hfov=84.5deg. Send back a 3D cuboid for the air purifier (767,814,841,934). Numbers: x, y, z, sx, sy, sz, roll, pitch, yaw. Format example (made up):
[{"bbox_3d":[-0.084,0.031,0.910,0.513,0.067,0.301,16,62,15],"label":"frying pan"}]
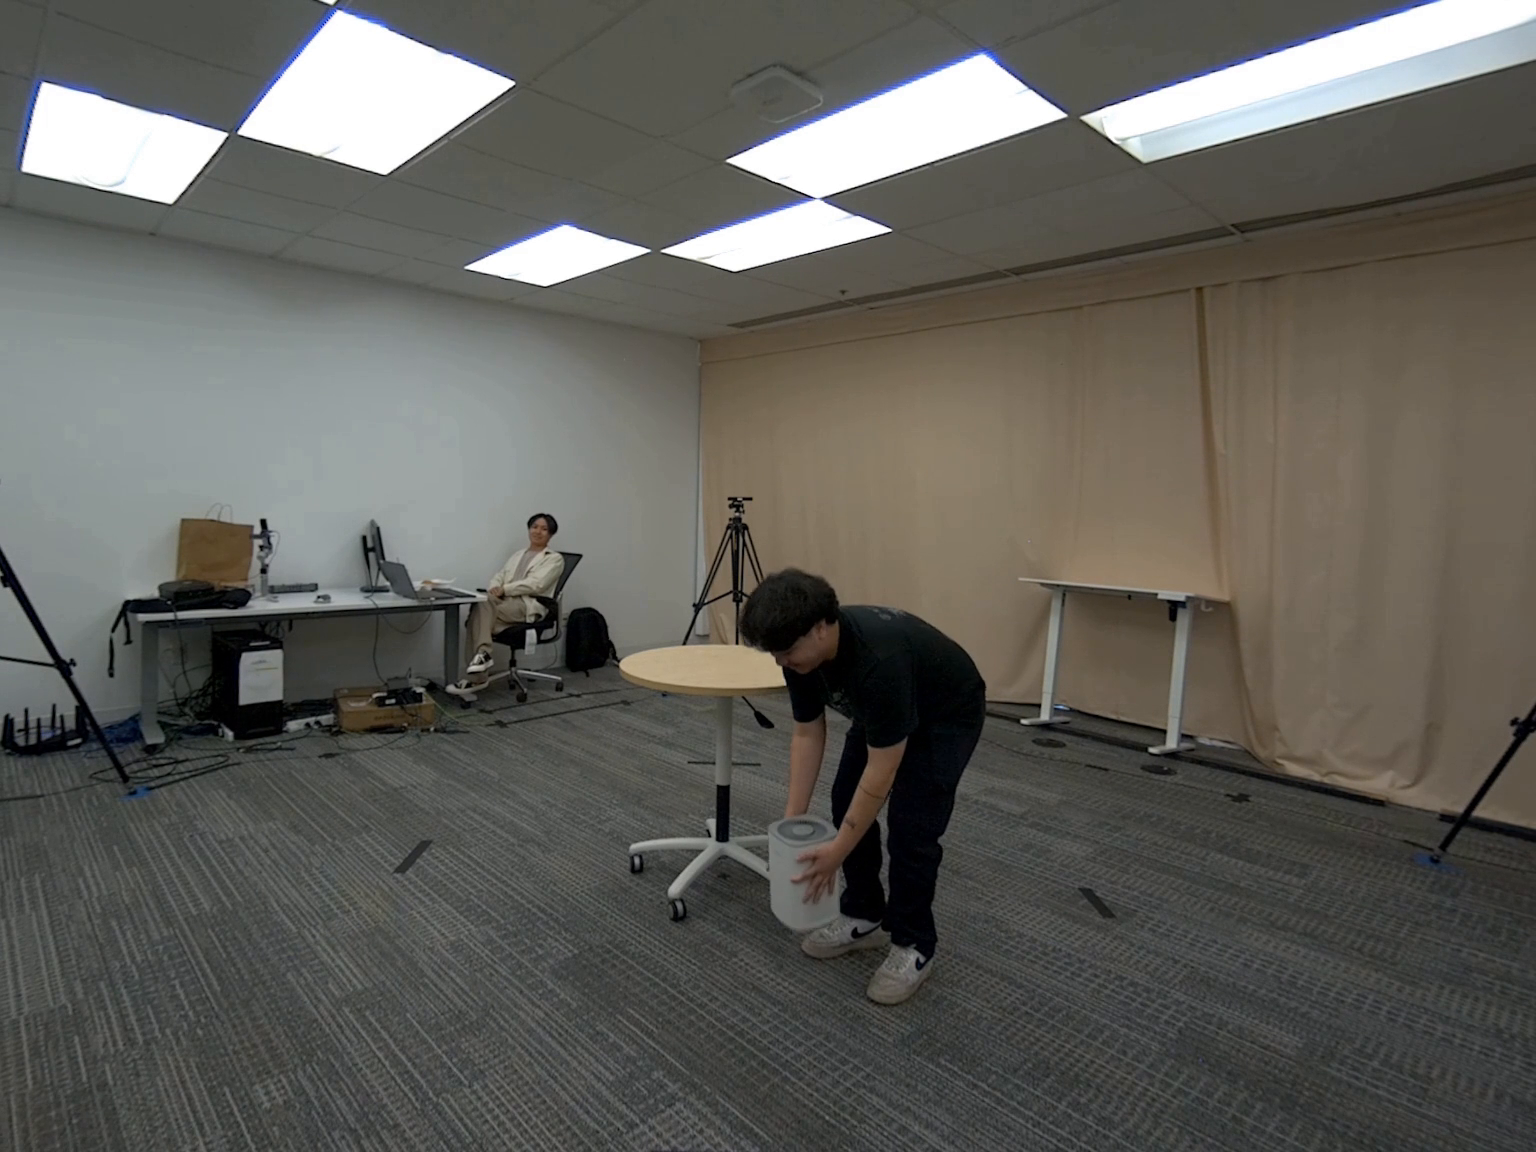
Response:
[{"bbox_3d":[0.105,0.836,2.385,0.168,0.264,0.175,-6,8,-31],"label":"air purifier"}]
